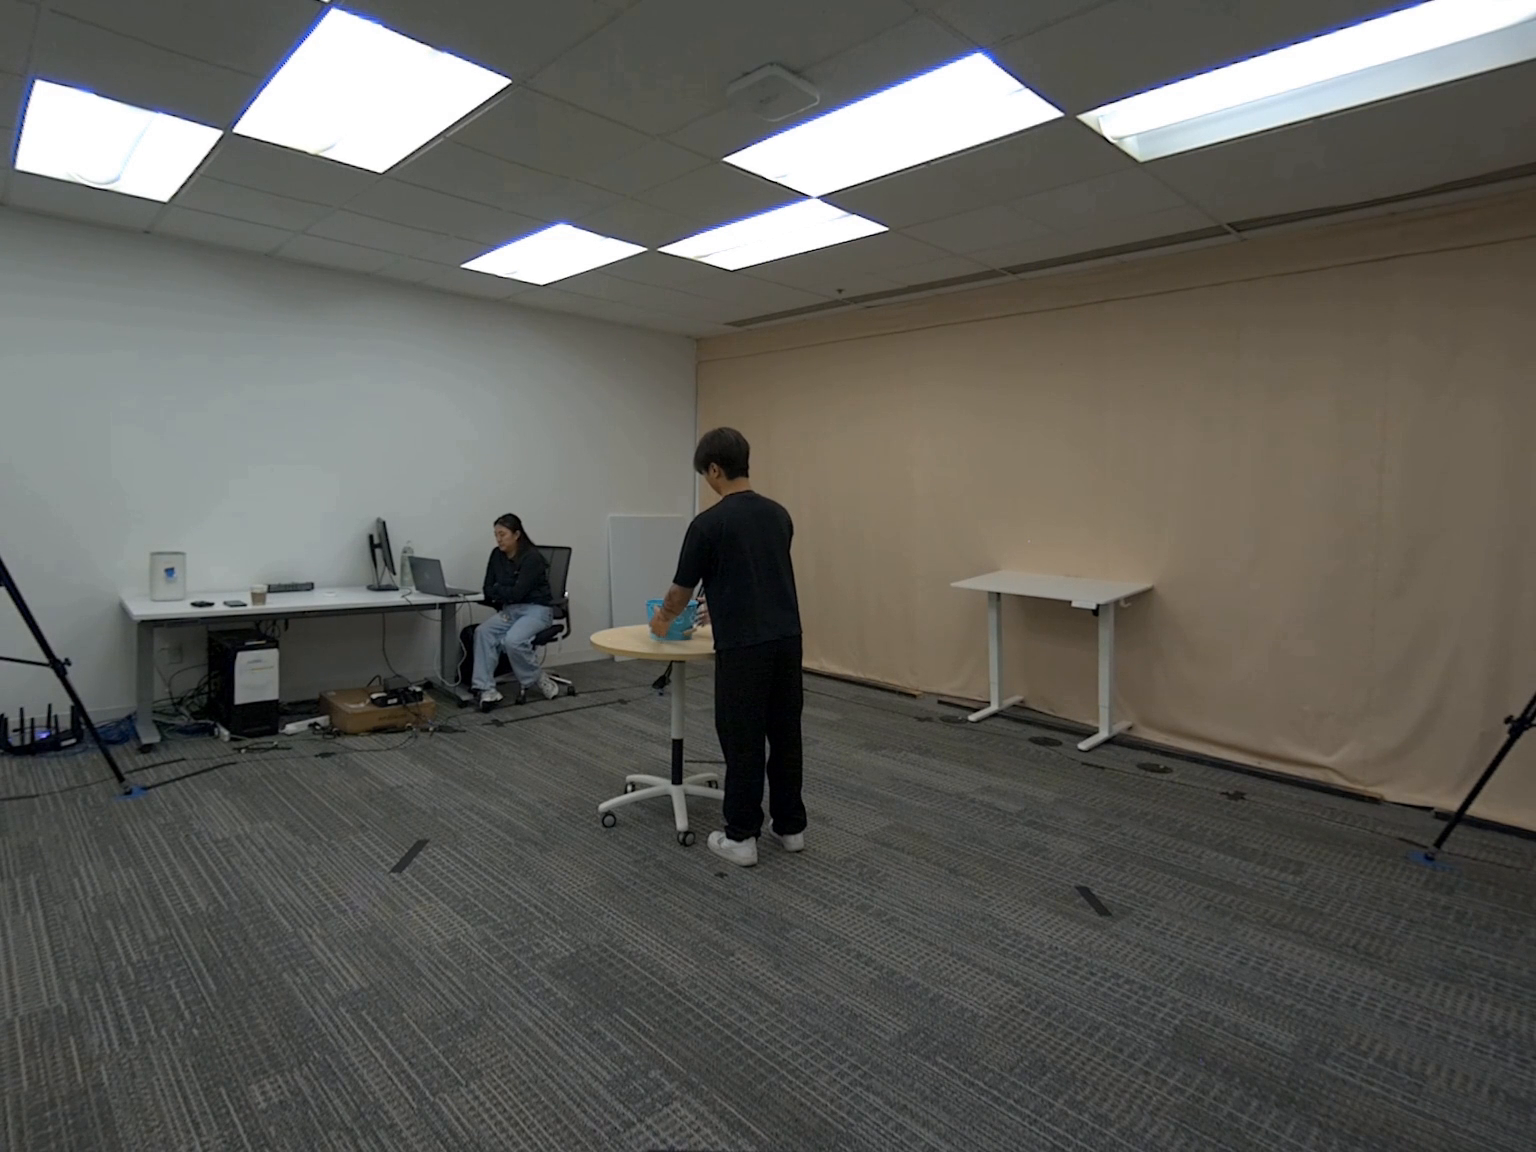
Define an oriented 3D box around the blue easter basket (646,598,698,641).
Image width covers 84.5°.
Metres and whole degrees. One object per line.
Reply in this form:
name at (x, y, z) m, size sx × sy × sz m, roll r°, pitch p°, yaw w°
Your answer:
blue easter basket at (-0.428, 0.189, 3.648) m, size 0.243 × 0.155 × 0.244 m, roll 1°, pitch 4°, yaw -1°
